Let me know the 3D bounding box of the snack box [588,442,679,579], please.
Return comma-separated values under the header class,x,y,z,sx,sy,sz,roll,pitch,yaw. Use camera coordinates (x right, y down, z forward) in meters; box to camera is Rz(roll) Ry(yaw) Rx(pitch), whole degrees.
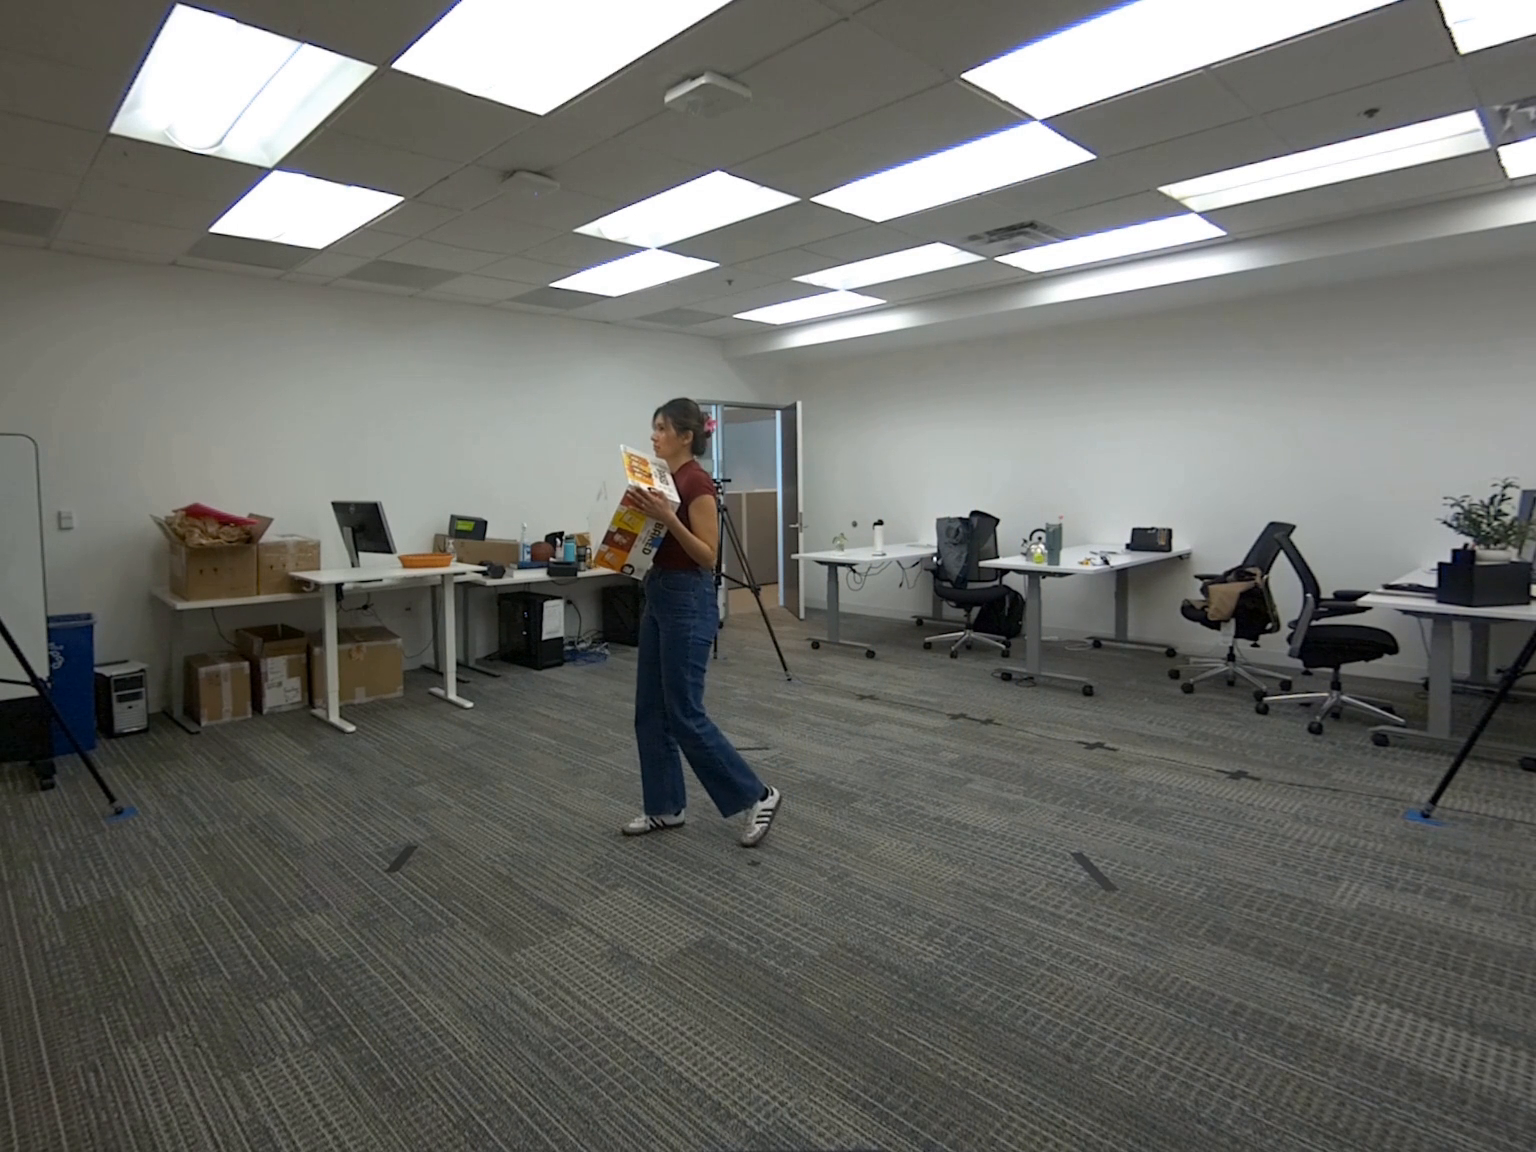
class,x,y,z,sx,sy,sz,roll,pitch,yaw
snack box,-0.504,-0.254,3.250,0.200,0.338,0.419,20,21,-25
